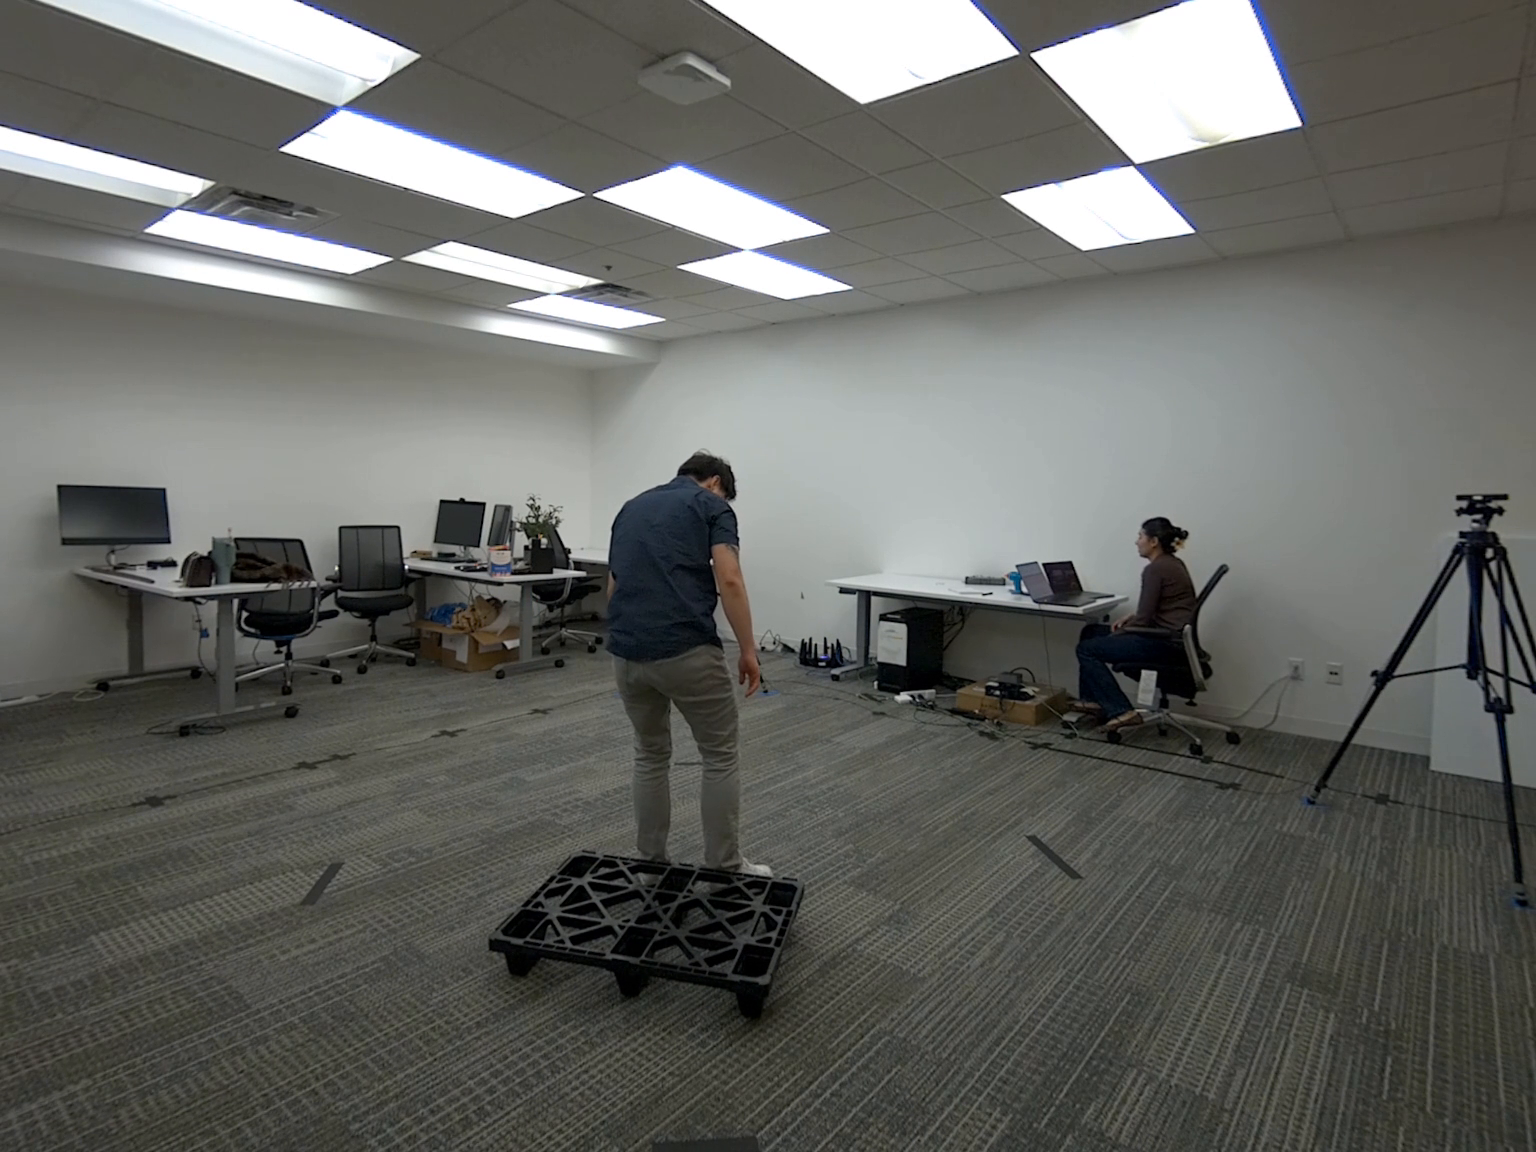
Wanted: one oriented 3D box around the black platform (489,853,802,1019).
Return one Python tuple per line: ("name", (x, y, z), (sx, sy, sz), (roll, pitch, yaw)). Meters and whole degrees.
("black platform", (-0.343, 1.051, 2.548), (0.818, 0.143, 0.598), (2, 6, 14))
